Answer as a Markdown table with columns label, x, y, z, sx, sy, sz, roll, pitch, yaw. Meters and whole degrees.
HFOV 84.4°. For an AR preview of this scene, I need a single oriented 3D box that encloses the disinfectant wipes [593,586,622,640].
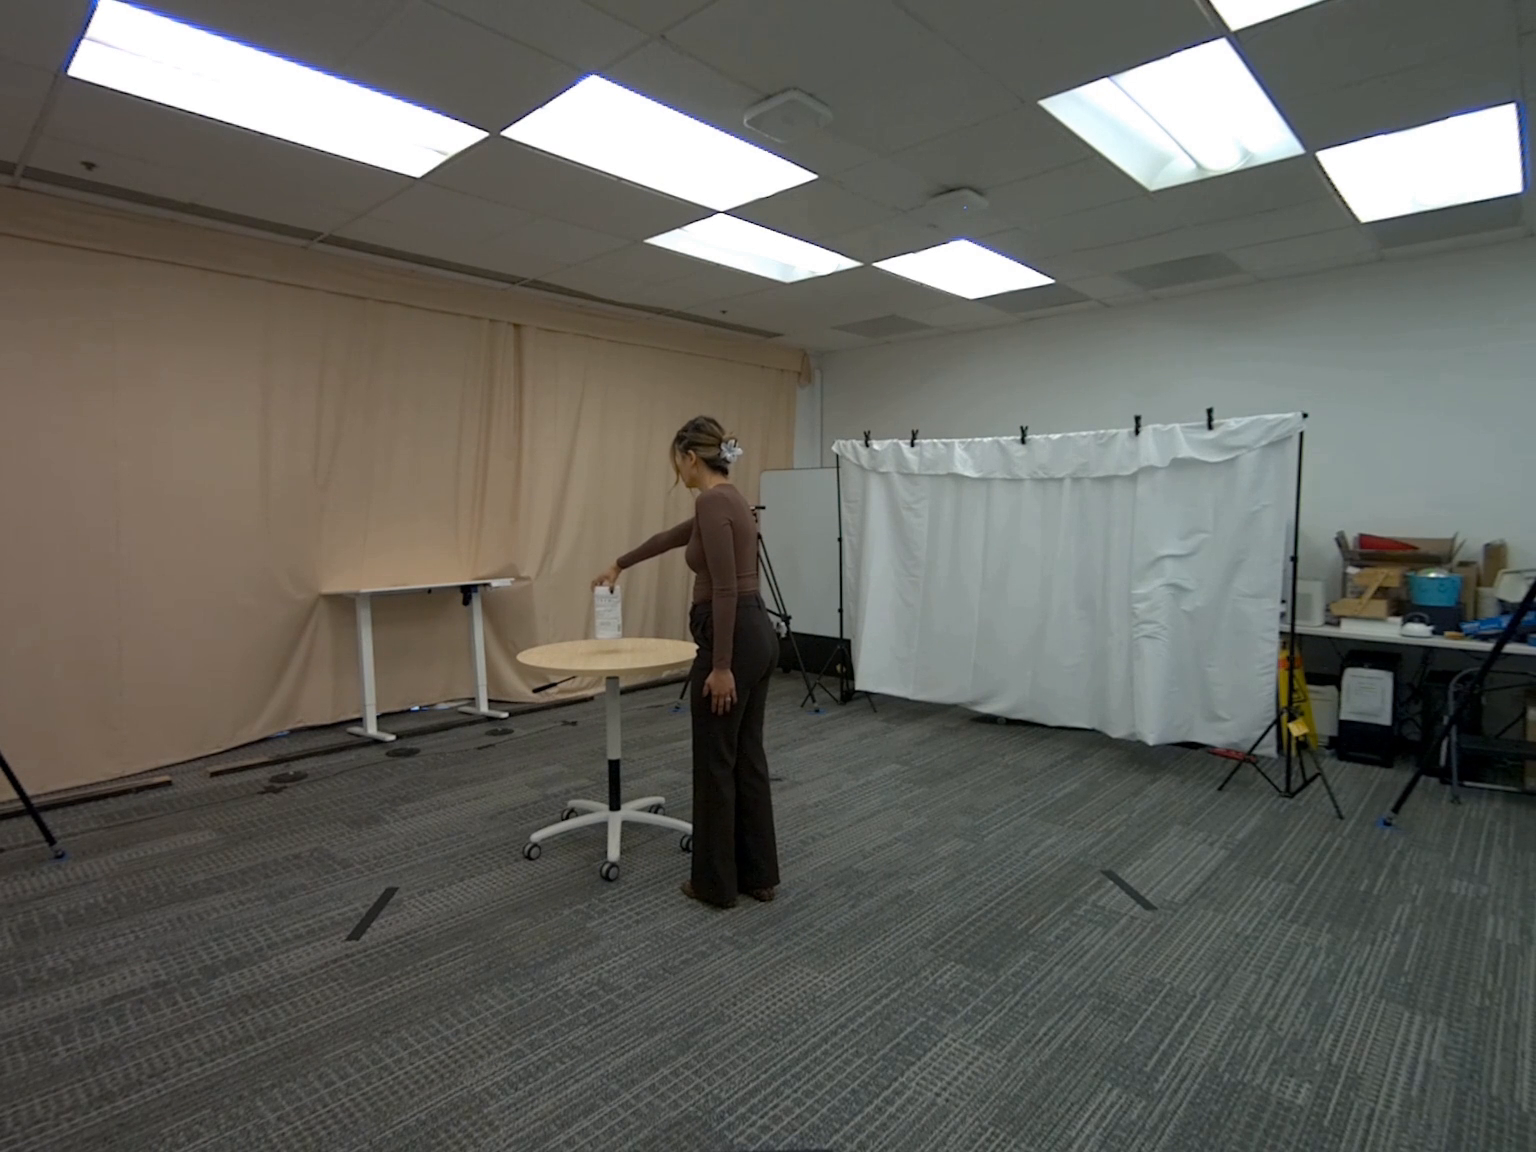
| label | x | y | z | sx | sy | sz | roll | pitch | yaw |
| --- | --- | --- | --- | --- | --- | --- | --- | --- | --- |
| disinfectant wipes | -0.656 | 0.148 | 3.452 | 0.118 | 0.217 | 0.118 | -2 | 4 | -2 |
